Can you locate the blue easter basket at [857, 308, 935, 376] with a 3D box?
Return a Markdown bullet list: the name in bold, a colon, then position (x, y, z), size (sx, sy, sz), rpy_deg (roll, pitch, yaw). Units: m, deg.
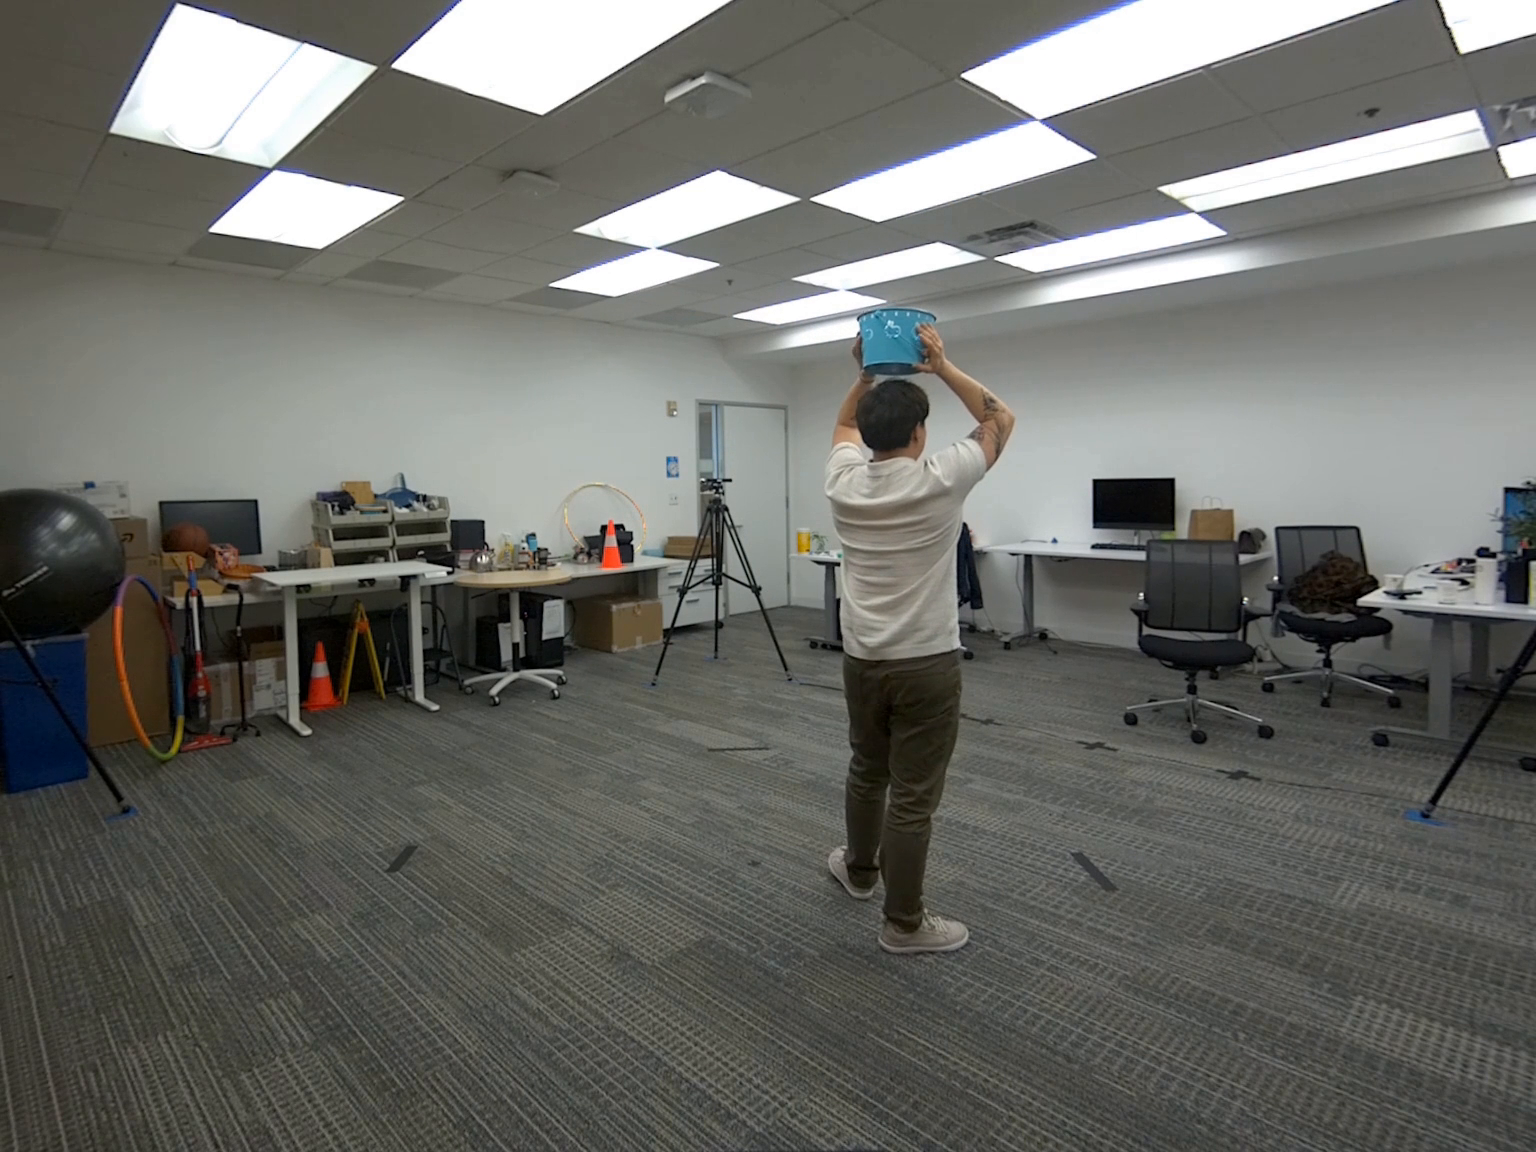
- **blue easter basket**: position (0.392, -0.692, 2.527), size (0.243, 0.155, 0.244), rpy_deg (1, 4, -2)
